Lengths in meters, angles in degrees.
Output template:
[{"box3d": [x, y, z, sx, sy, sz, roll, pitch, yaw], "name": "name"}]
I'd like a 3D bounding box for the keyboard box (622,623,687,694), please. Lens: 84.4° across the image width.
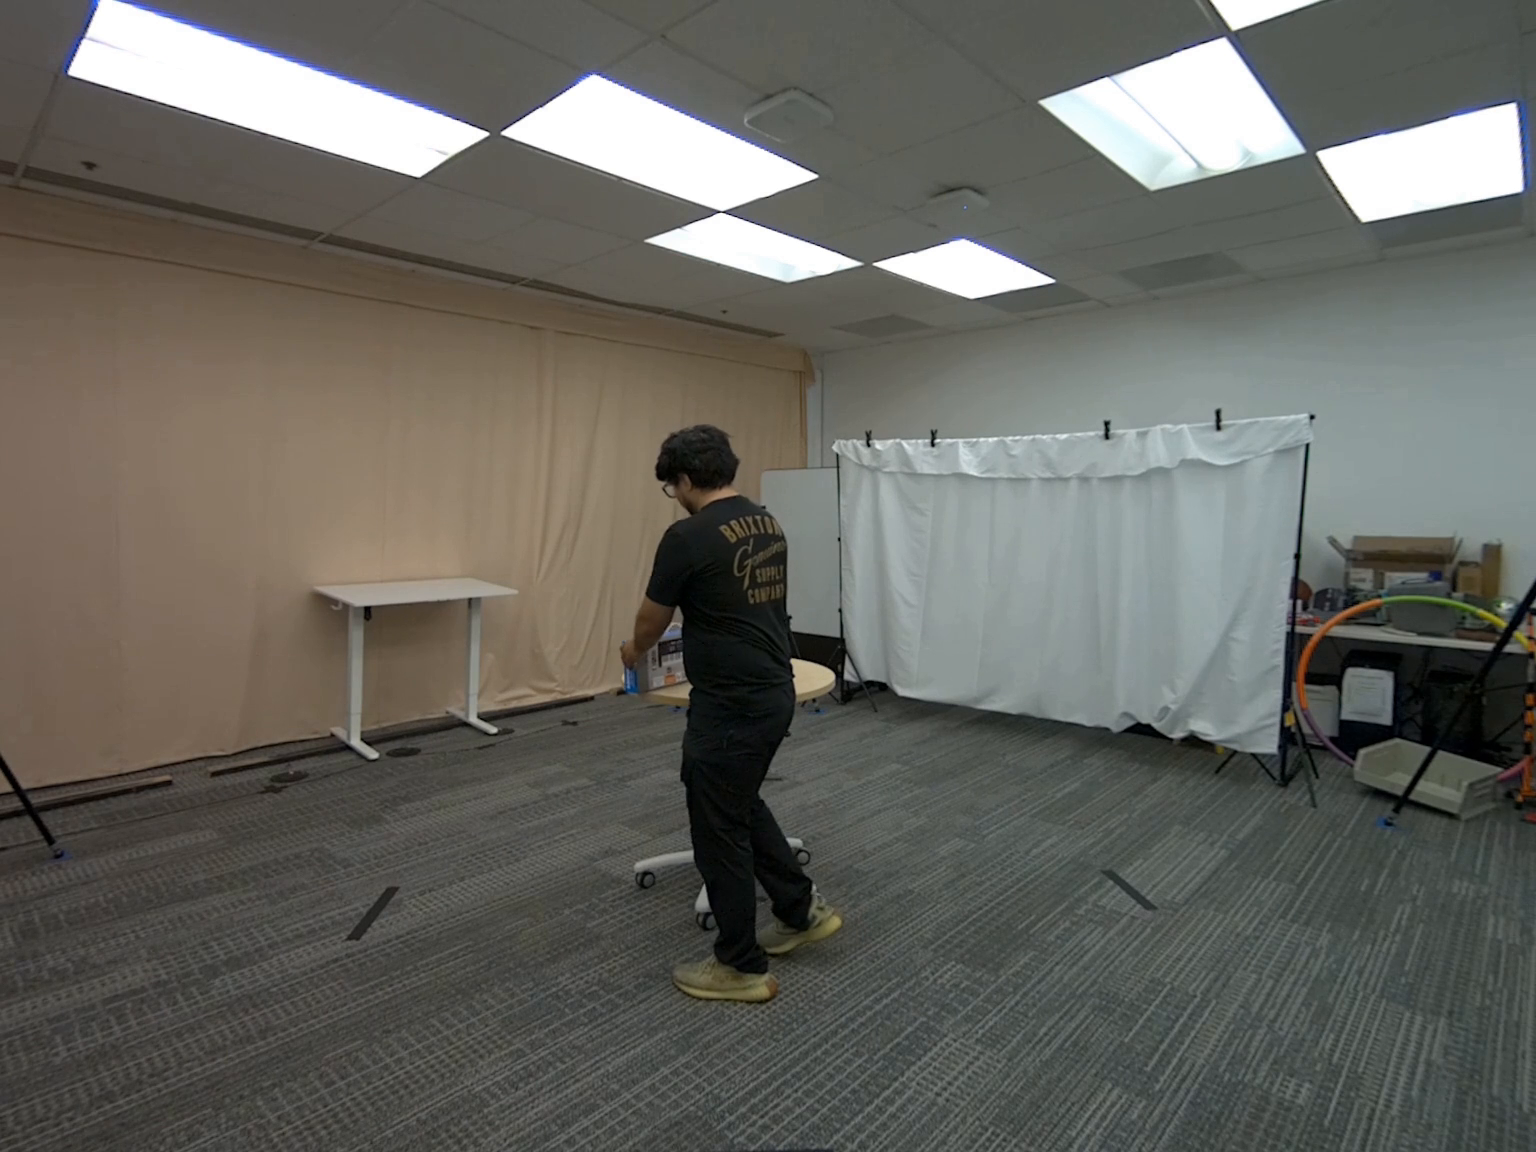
[{"box3d": [-0.321, 0.284, 2.917, 0.061, 0.175, 0.424, 1, 5, 38], "name": "keyboard box"}]
